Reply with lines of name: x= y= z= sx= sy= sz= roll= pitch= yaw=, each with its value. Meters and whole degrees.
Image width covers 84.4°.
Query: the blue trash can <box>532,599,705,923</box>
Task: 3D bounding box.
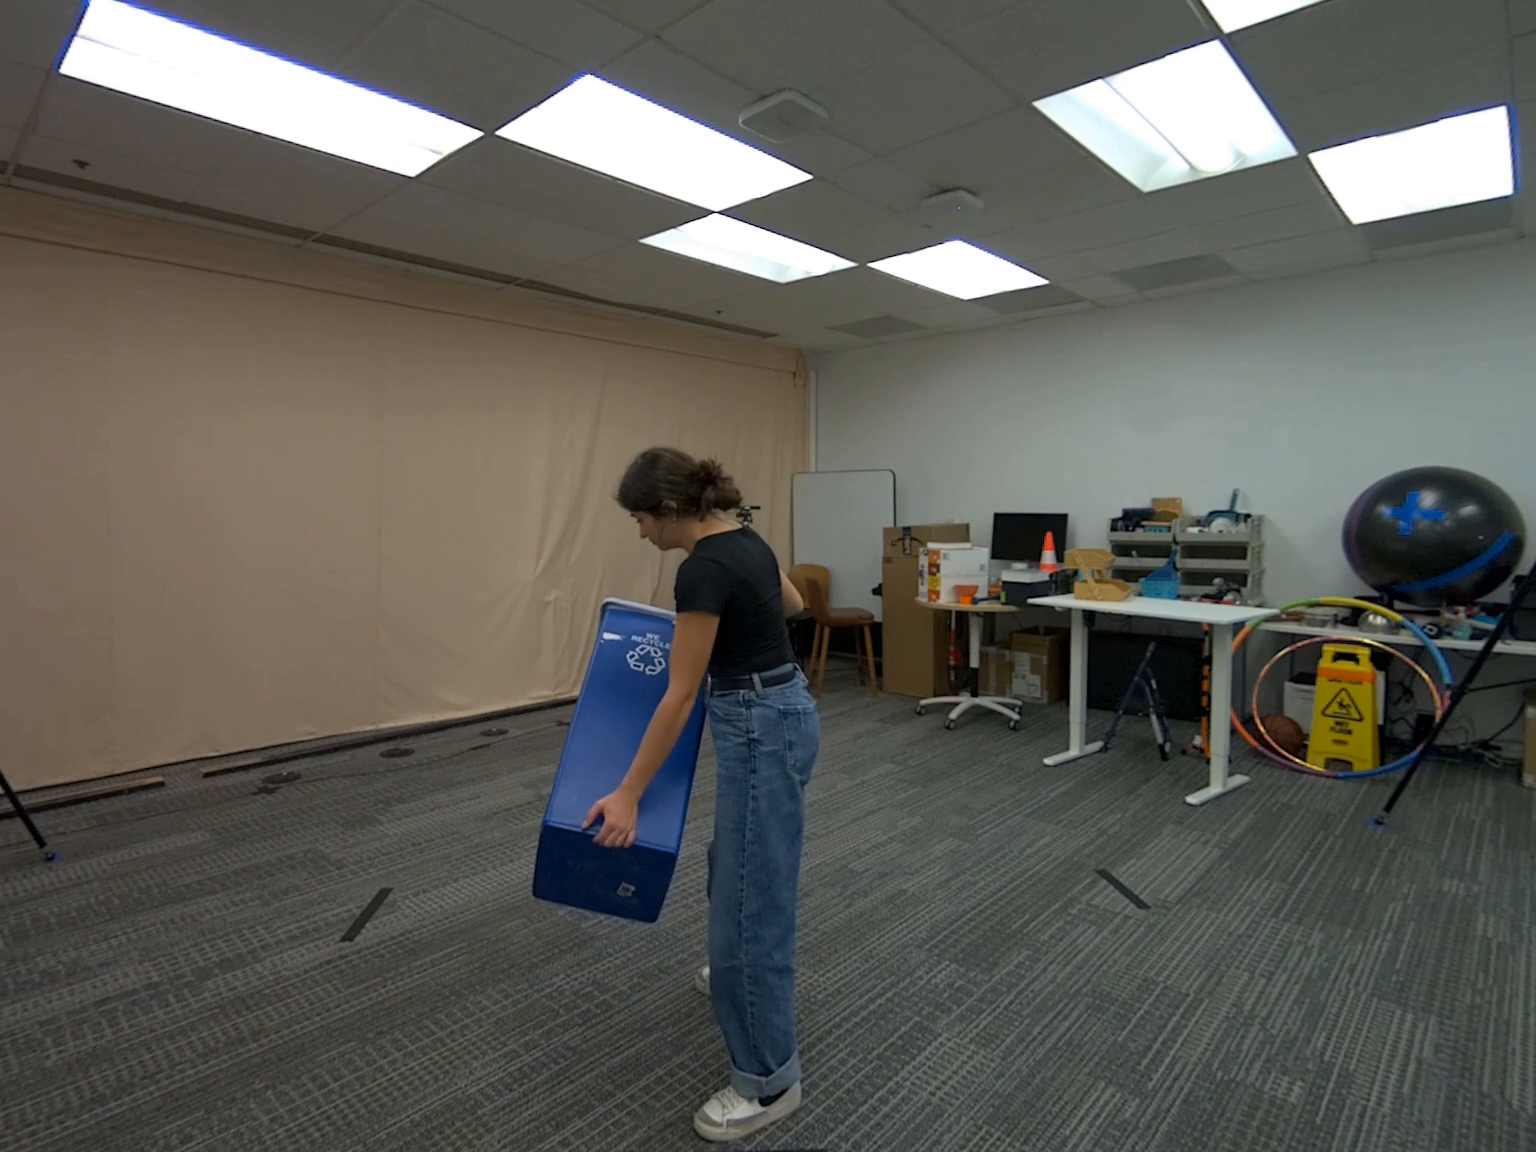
blue trash can: x=-0.352 y=0.459 z=2.164 sx=0.376 sy=0.371 sz=0.723 roll=14 pitch=38 yaw=-5
